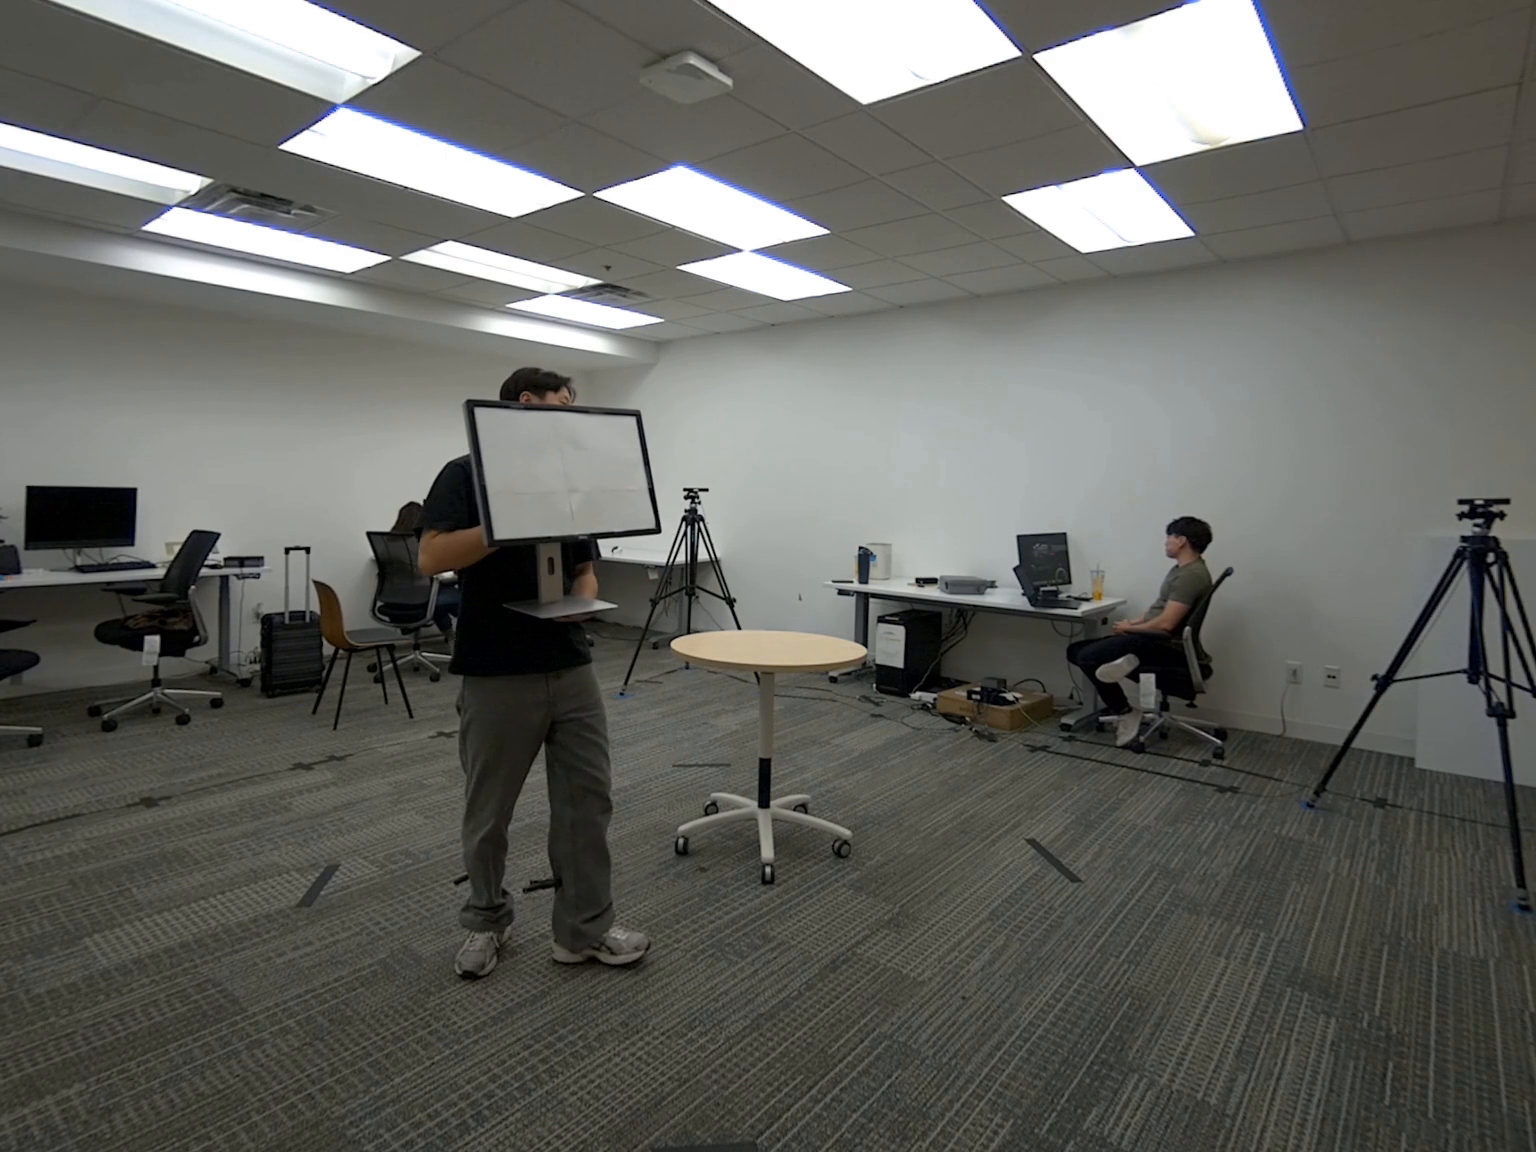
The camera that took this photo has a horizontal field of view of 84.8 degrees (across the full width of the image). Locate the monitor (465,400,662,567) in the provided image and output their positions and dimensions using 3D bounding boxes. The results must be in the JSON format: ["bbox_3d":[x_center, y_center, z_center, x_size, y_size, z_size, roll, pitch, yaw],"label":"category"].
[{"bbox_3d":[-0.553,-0.169,2.260,0.546,0.562,0.230,-6,10,-44],"label":"monitor"}]
